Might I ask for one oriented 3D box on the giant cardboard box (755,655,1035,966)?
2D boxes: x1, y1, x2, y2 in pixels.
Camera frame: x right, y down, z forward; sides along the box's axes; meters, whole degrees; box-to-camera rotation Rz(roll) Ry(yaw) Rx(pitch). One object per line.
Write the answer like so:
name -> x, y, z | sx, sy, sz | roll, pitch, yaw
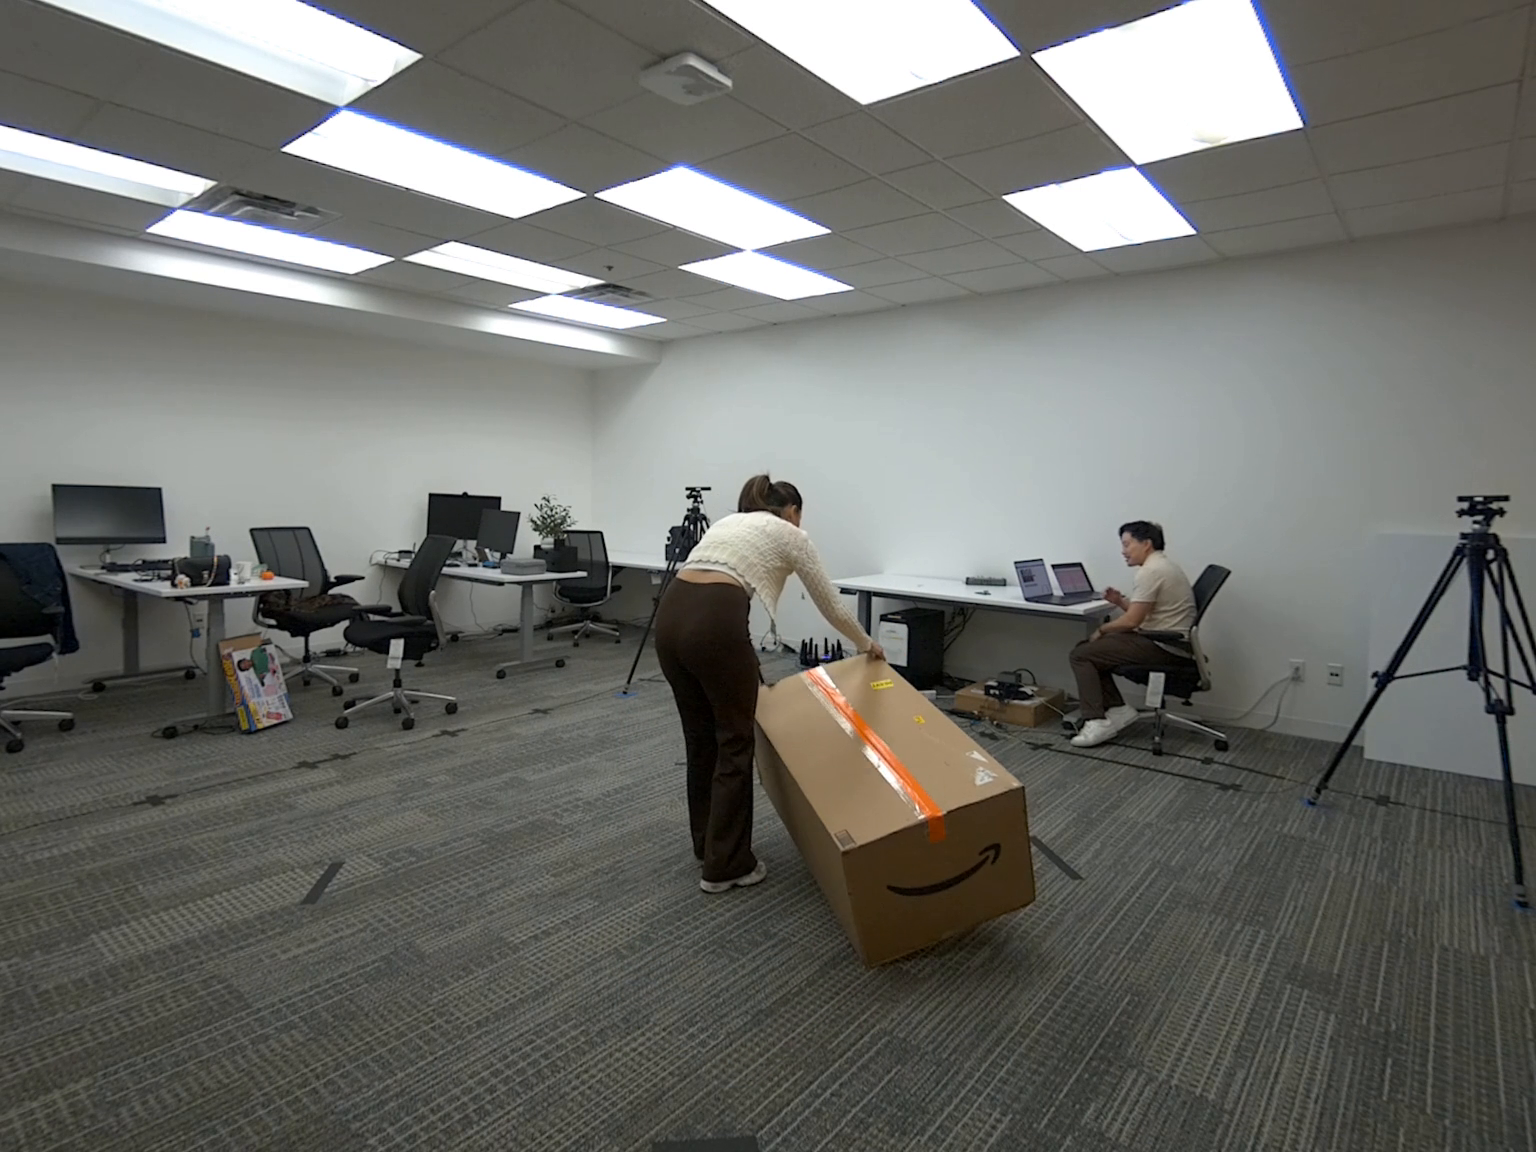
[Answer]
giant cardboard box -> 0.370, 0.731, 2.933 | 0.572, 0.417, 1.056 | -16, 20, -12
